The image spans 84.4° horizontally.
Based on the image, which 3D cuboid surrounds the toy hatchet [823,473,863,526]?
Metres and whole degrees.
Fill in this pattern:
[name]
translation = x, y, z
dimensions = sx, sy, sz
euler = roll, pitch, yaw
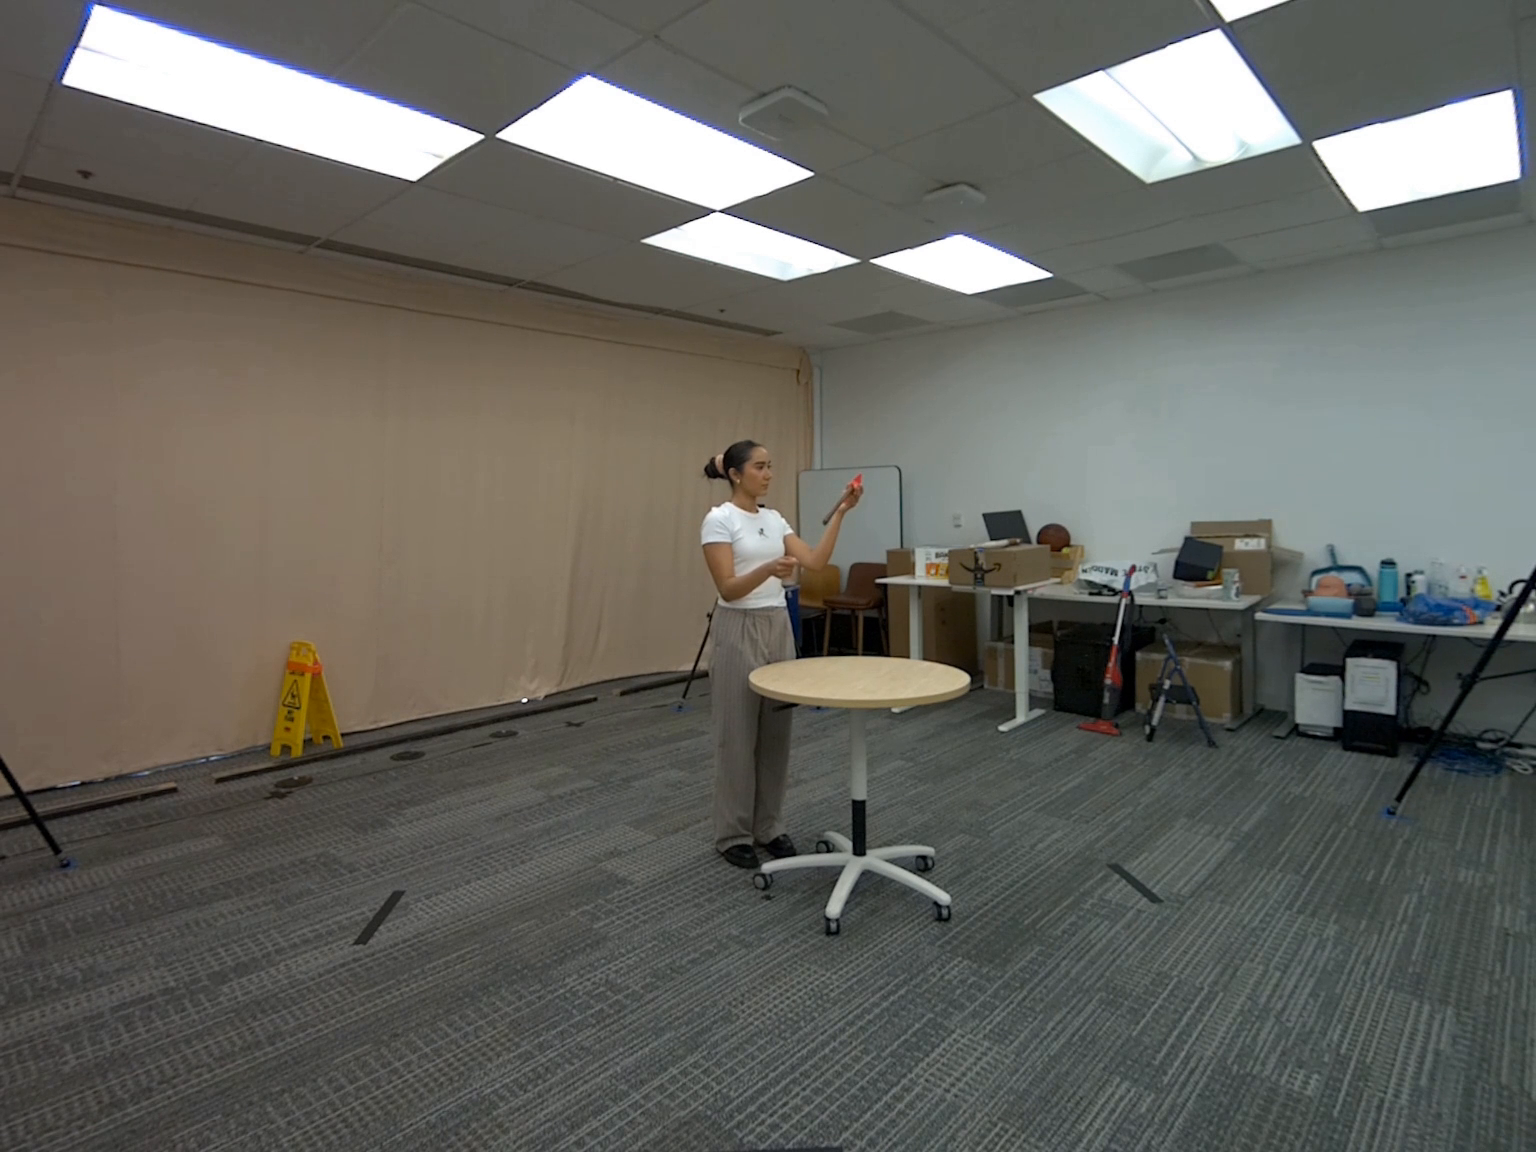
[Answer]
[toy hatchet]
translation = 0.269, -0.265, 3.111
dimensions = 0.030, 0.269, 0.130
euler = 34, -27, 8
